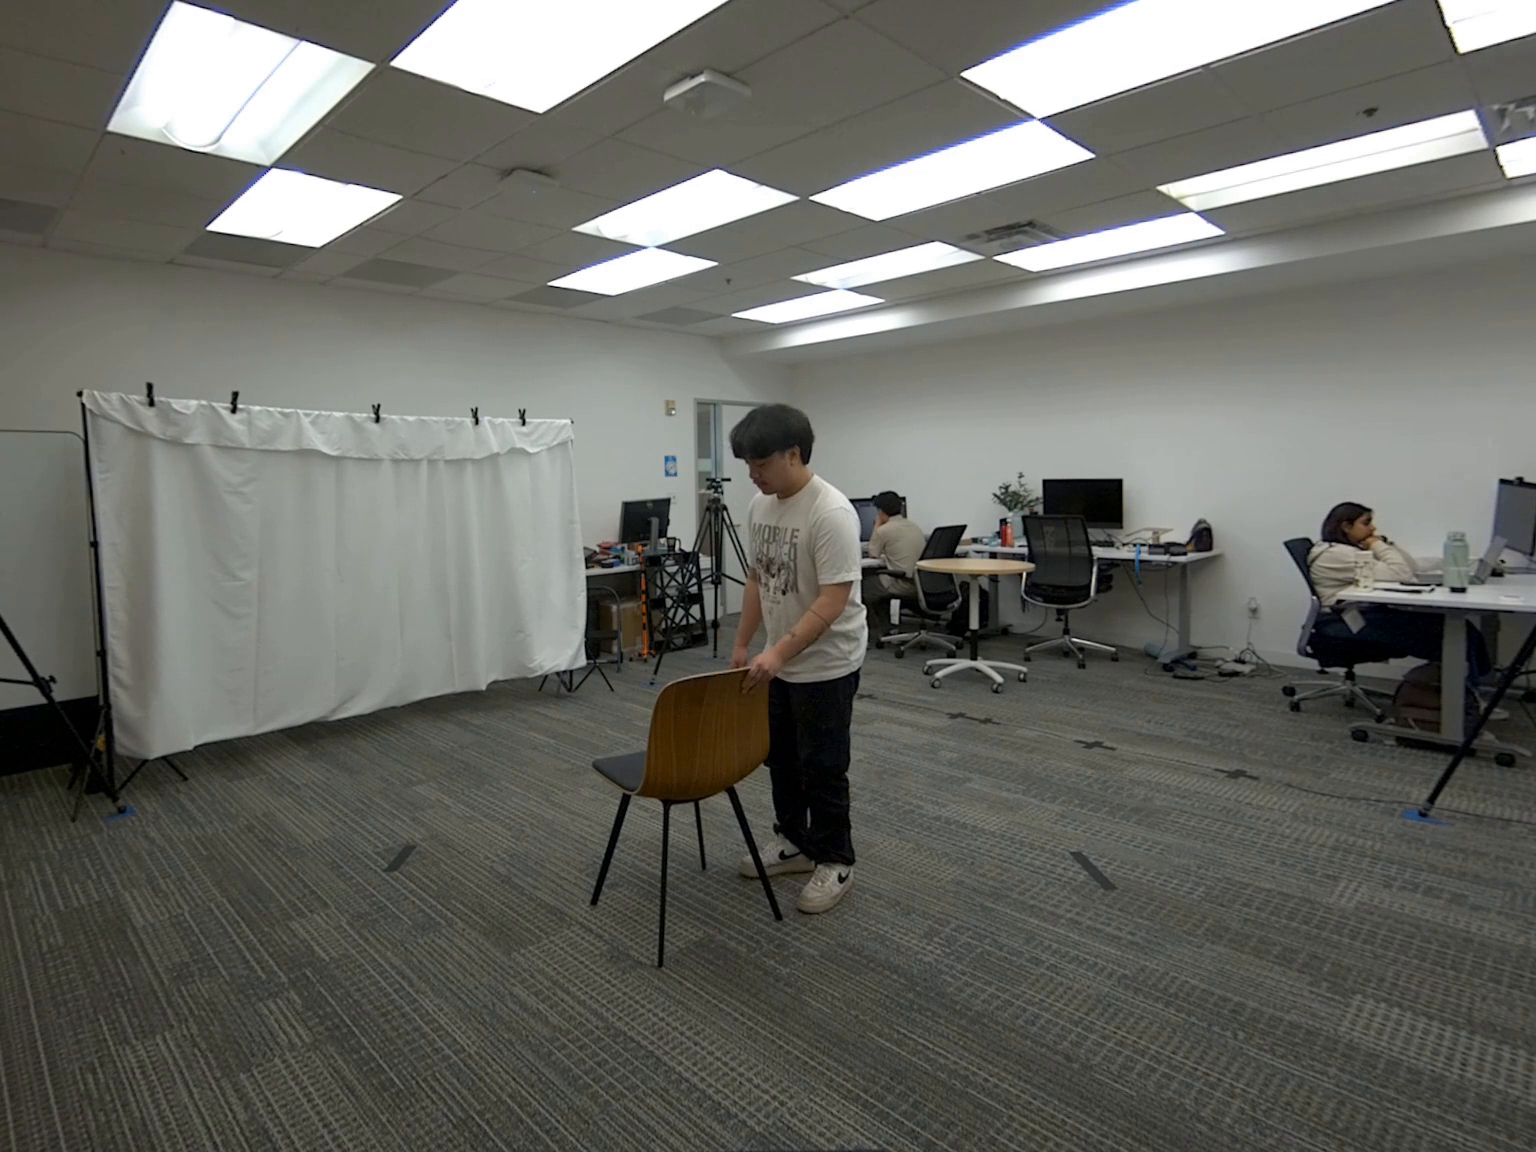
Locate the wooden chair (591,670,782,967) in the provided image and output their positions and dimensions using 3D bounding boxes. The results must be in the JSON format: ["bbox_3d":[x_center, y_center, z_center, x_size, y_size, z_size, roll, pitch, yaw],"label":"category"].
[{"bbox_3d":[-0.282,0.666,2.730,0.466,0.871,0.540,-4,10,-36],"label":"wooden chair"}]
